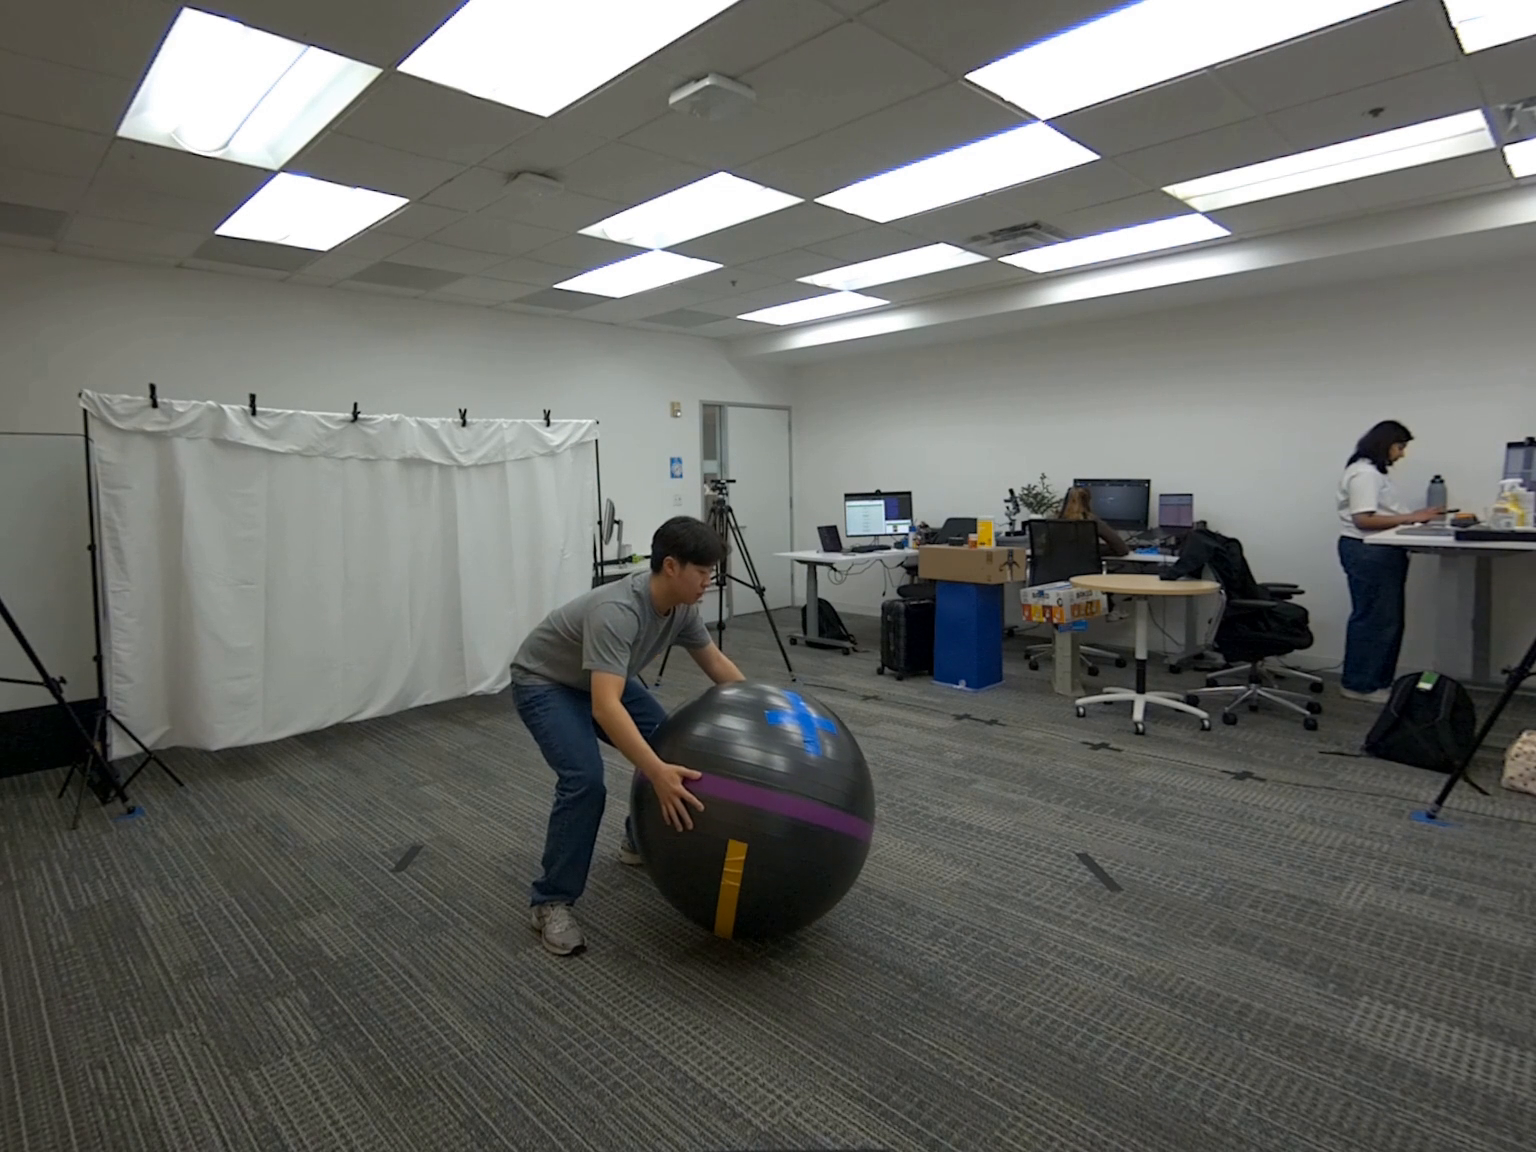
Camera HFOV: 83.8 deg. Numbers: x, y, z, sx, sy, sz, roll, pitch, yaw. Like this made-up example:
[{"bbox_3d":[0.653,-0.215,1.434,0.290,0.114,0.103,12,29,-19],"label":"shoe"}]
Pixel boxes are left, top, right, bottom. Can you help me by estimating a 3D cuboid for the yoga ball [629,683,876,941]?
[{"bbox_3d":[-0.042,0.712,2.646,0.757,0.755,0.762,-1,5,-2],"label":"yoga ball"}]
